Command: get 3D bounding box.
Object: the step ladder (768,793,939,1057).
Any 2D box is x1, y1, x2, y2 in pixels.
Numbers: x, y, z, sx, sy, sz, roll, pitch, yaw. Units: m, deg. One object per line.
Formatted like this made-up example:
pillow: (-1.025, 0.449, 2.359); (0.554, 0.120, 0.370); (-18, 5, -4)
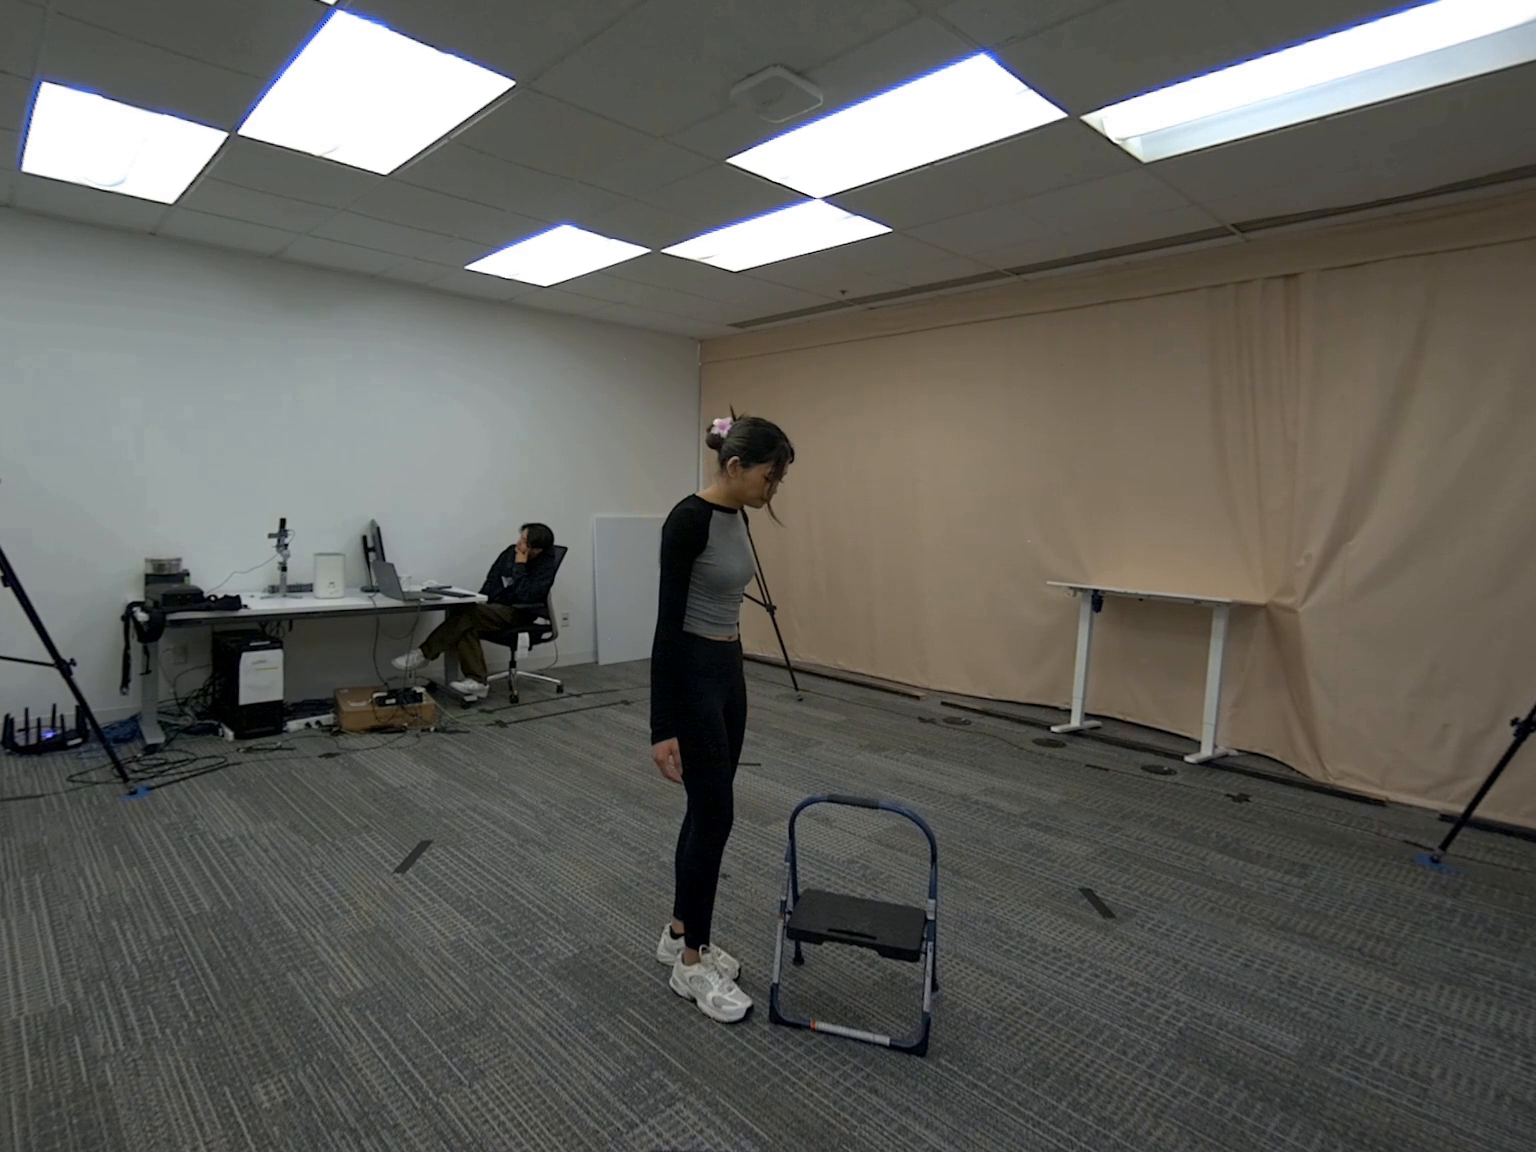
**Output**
step ladder: (0.246, 0.889, 2.317); (0.436, 0.605, 0.345); (3, 3, 16)
